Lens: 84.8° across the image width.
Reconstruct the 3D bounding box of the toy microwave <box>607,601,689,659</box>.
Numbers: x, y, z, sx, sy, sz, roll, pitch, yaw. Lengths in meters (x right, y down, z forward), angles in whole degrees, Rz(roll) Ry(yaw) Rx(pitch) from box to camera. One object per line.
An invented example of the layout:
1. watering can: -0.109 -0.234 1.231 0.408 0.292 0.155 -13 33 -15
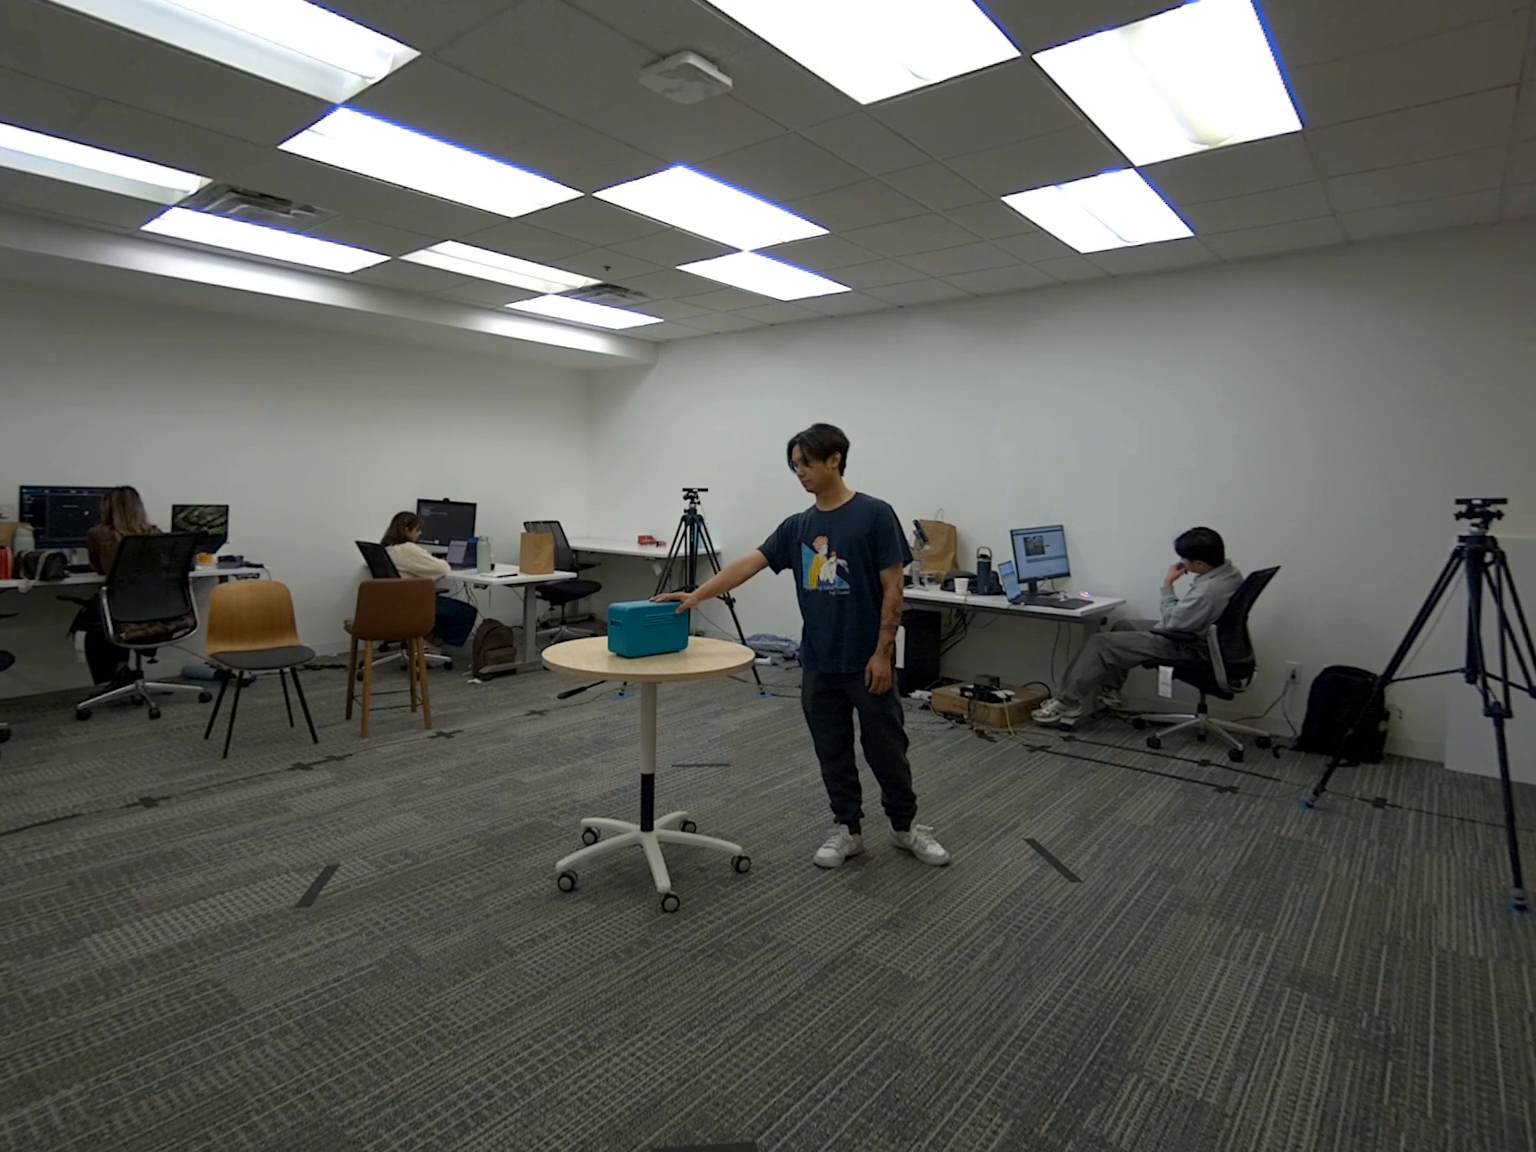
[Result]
1. toy microwave: -0.450 0.183 3.071 0.277 0.184 0.157 -2 5 -42
